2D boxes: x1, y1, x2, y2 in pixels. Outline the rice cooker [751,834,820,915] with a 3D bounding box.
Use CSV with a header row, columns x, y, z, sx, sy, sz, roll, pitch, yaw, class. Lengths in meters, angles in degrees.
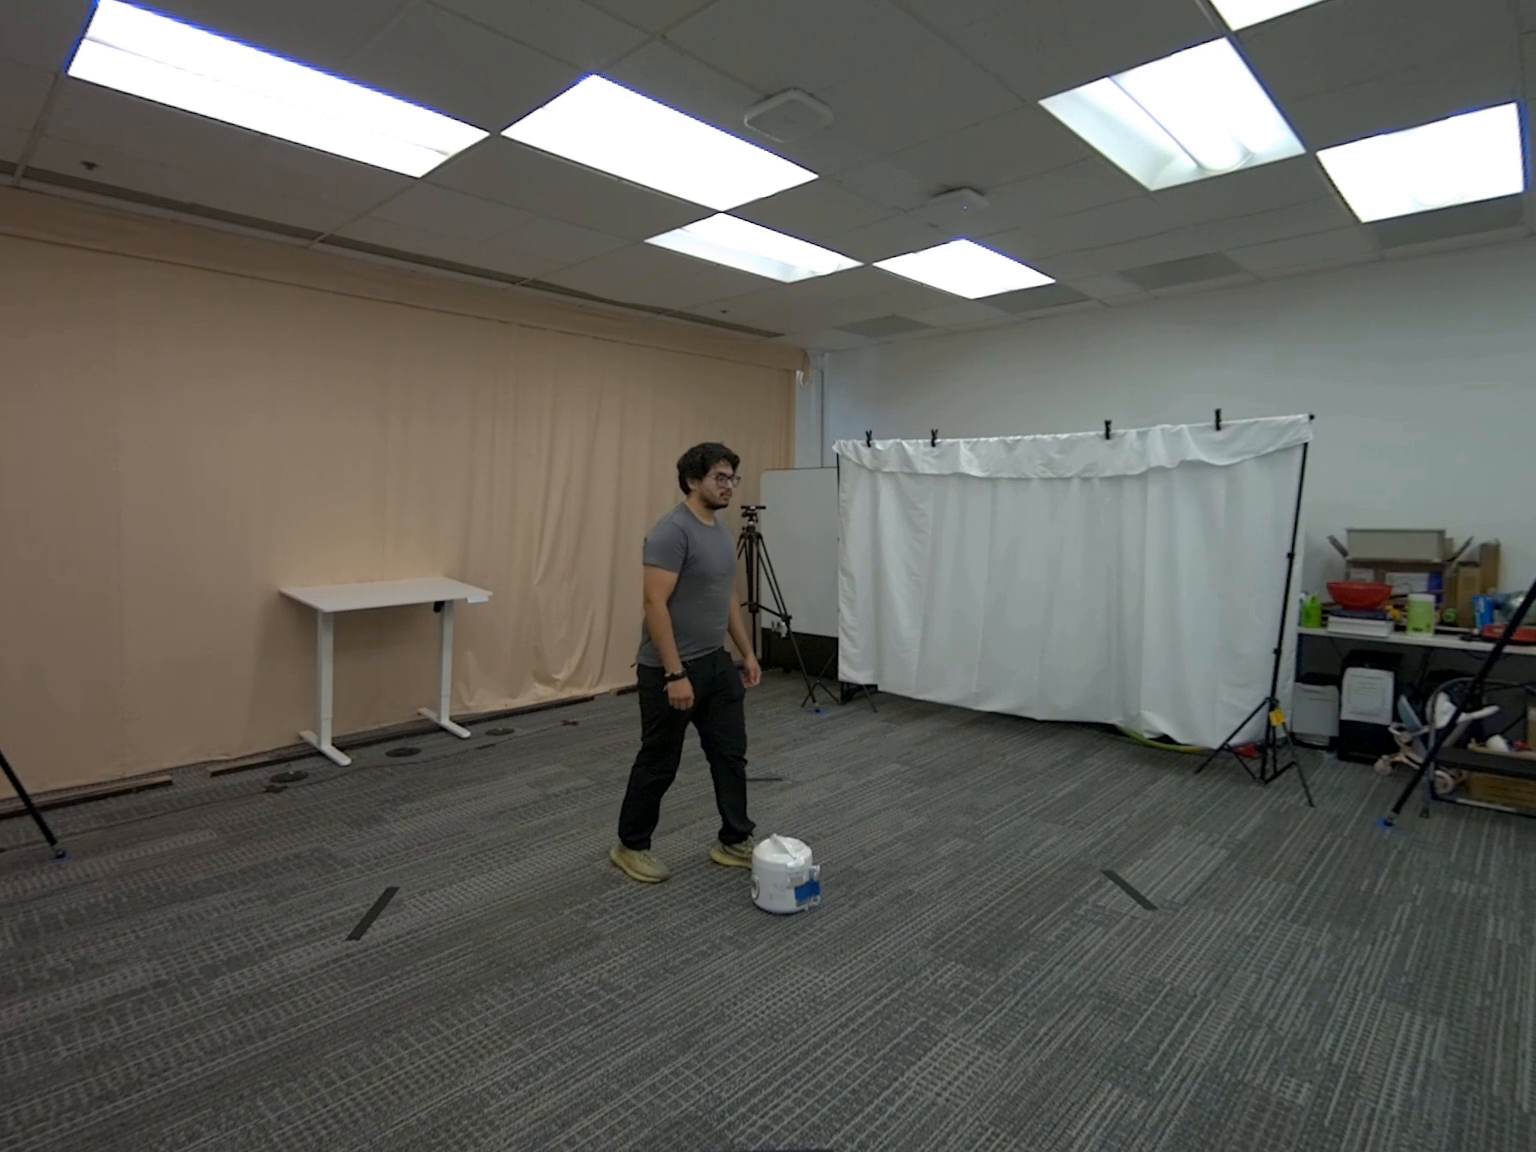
x,y,z,sx,sy,sz,roll,pitch,yaw,class
0.053,1.028,2.936,0.212,0.232,0.226,-2,4,-24,rice cooker
